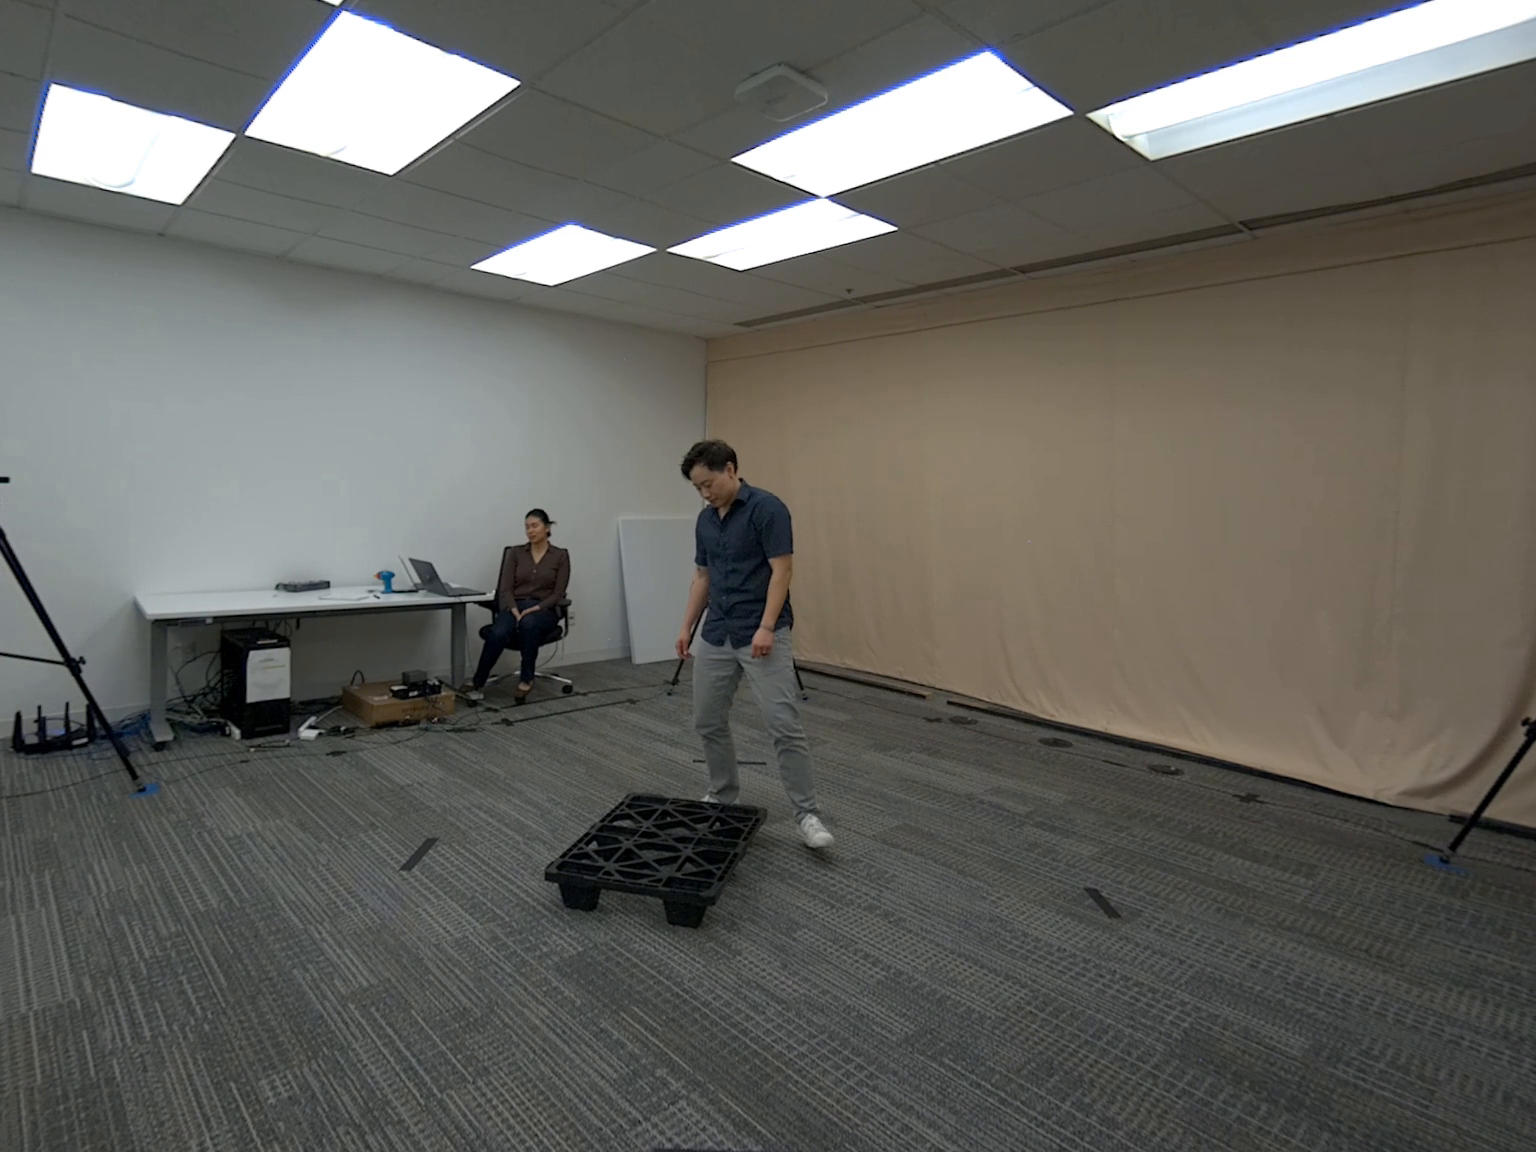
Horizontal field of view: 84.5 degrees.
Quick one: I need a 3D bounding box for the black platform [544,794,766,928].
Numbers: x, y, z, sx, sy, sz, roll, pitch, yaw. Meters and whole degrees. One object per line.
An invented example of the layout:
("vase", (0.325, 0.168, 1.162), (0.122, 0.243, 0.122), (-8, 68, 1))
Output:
("black platform", (-0.381, 1.028, 3.114), (0.612, 0.143, 0.799), (3, 6, 13))
